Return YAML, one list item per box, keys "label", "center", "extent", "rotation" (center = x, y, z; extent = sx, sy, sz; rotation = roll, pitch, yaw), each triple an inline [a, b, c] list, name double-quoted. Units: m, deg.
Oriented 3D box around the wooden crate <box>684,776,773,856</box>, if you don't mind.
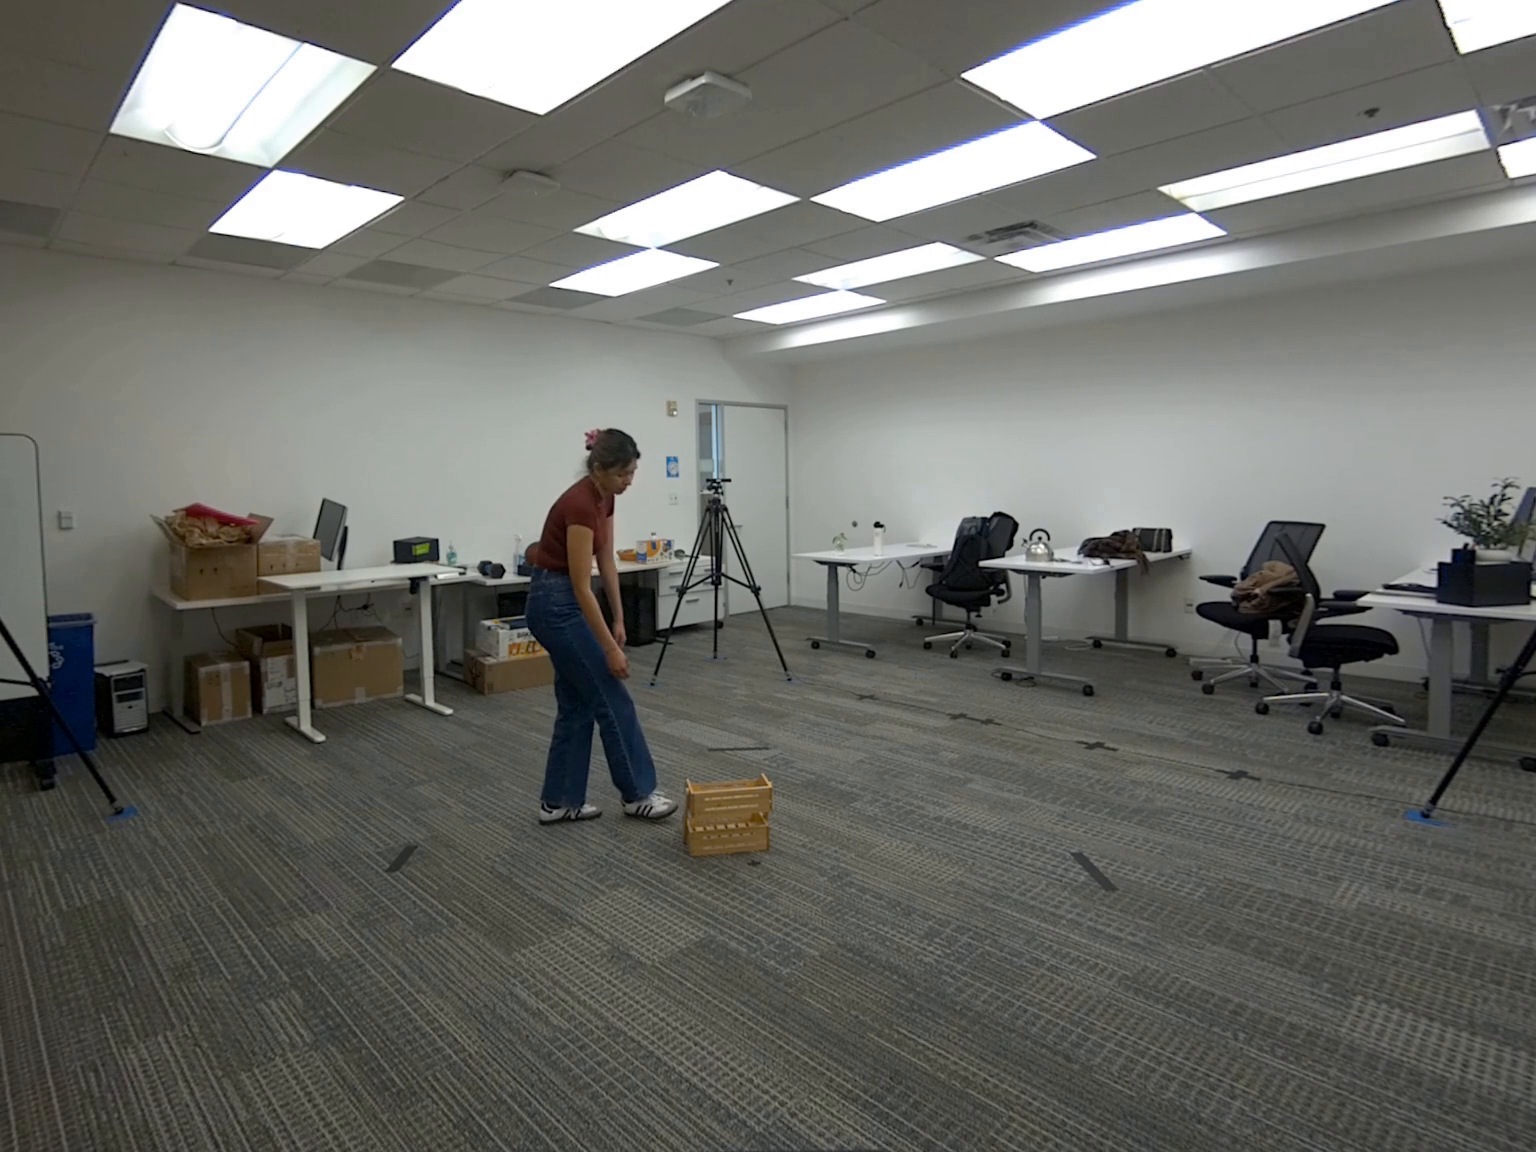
- label: "wooden crate"
  center: [-0.162, 0.890, 3.283]
  extent: [0.321, 0.272, 0.307]
  rotation: [-2, 5, -13]
